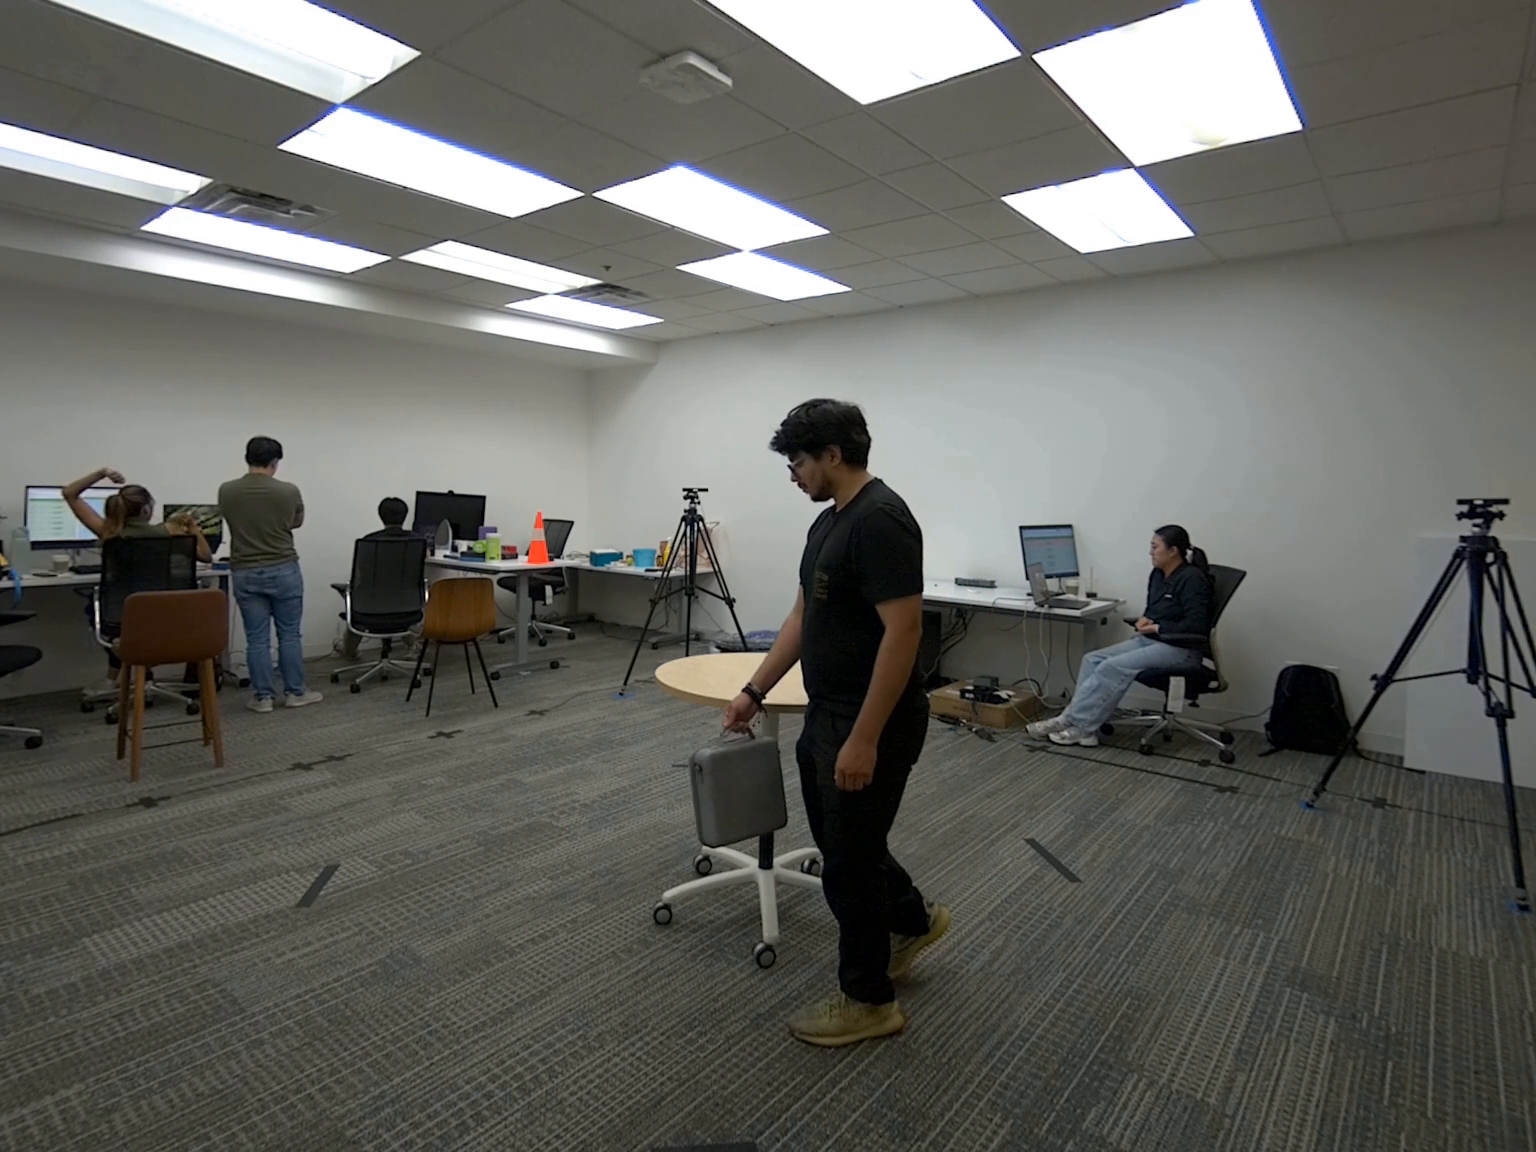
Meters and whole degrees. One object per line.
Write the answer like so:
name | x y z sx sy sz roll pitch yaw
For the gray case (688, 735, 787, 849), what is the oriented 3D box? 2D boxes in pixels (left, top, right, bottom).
gray case | -0.081 0.567 2.300 0.250 0.262 0.106 -3 -6 -34
